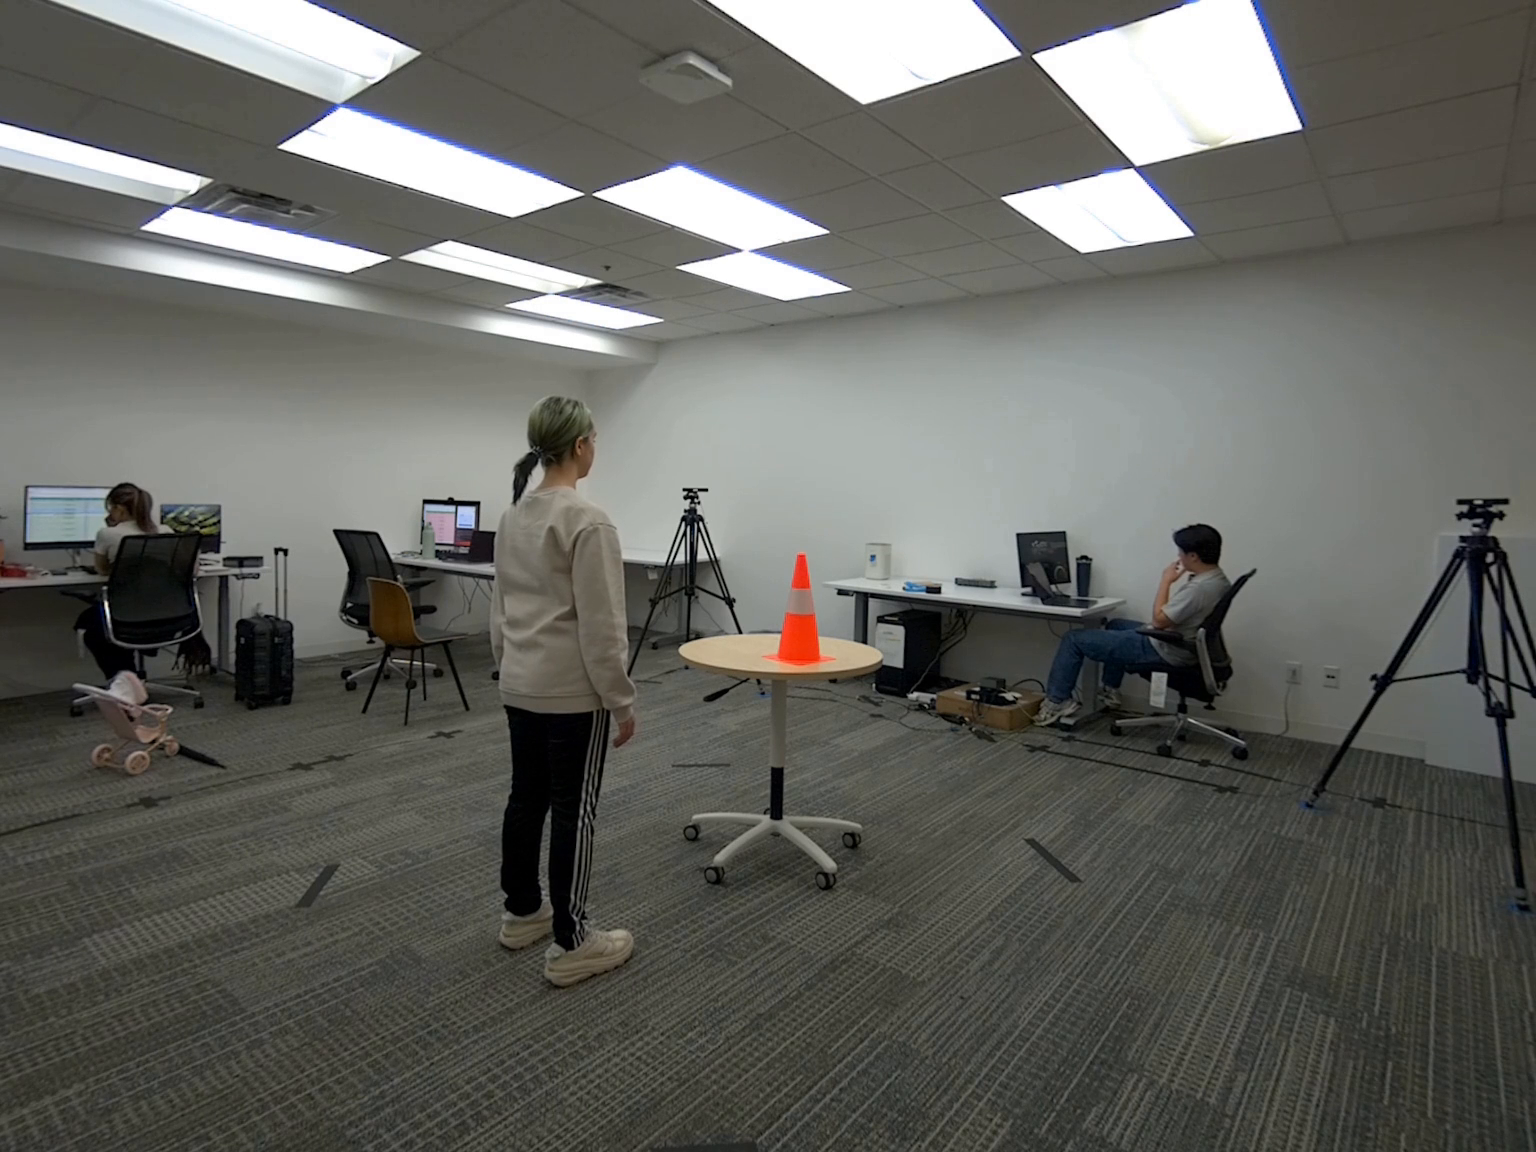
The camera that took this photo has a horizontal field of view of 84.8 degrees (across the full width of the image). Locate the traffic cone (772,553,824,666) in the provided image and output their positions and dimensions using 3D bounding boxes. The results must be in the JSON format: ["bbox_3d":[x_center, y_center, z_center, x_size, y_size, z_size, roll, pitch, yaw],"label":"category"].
[{"bbox_3d":[0.108,0.109,3.069,0.212,0.382,0.197,6,5,40],"label":"traffic cone"}]
